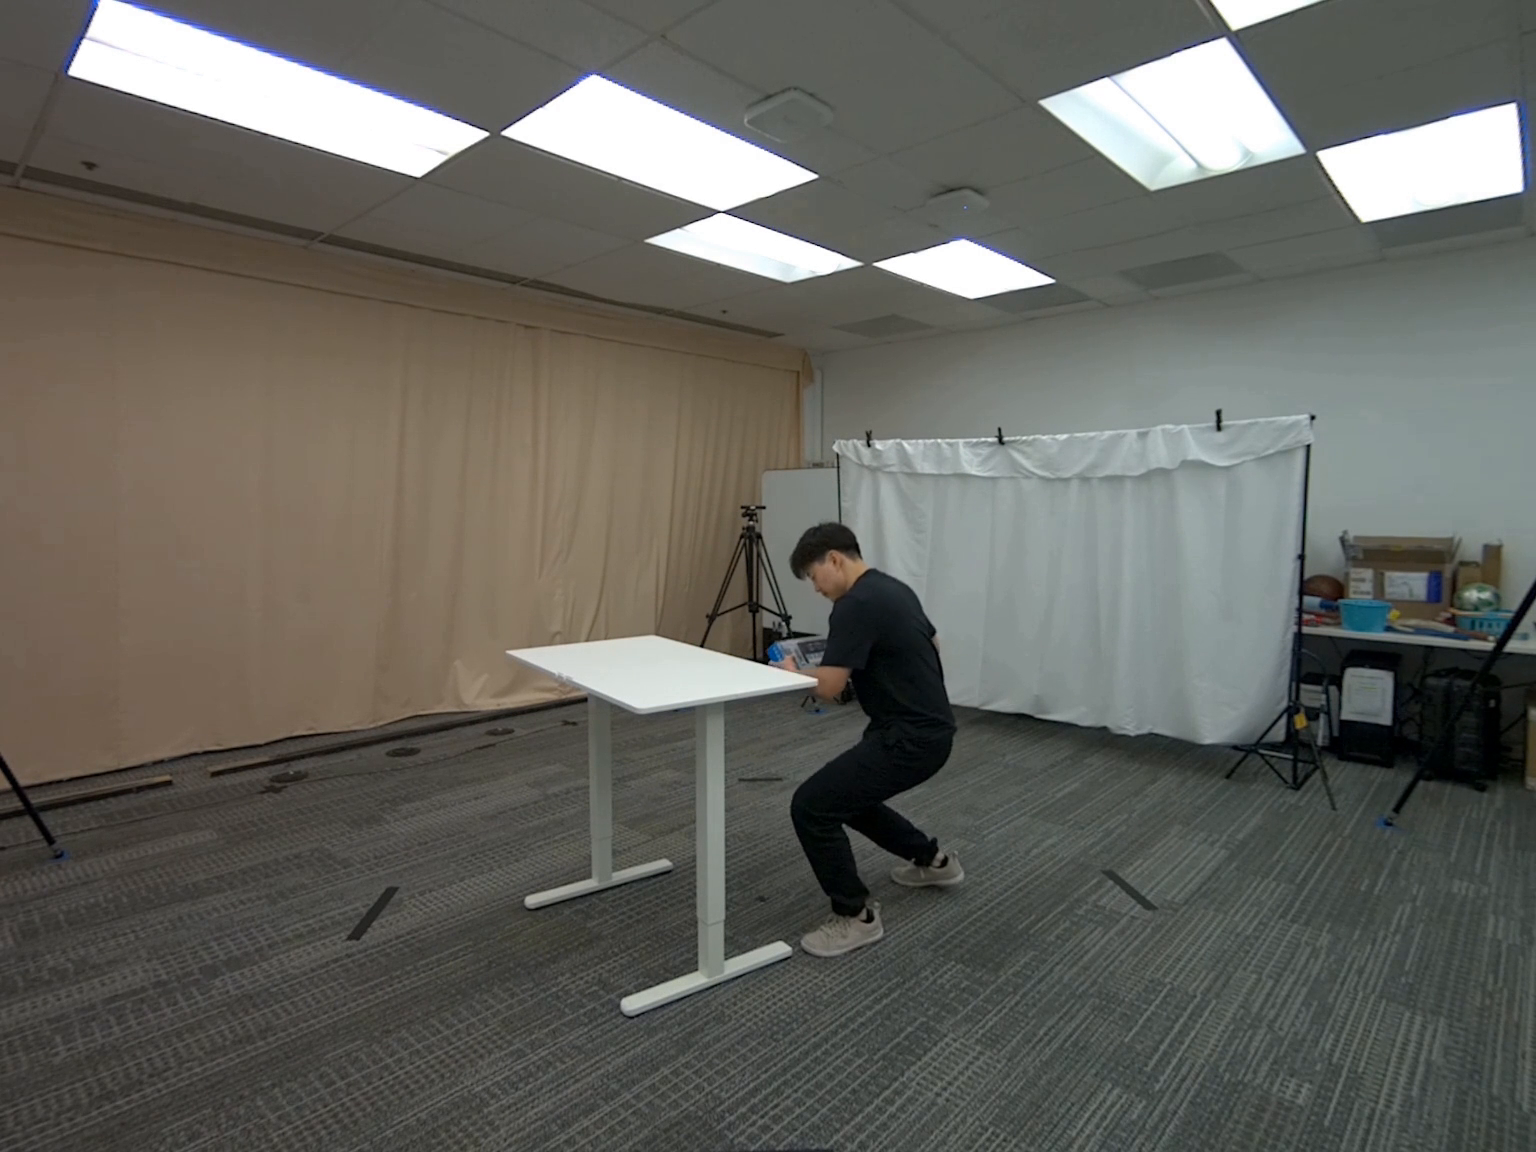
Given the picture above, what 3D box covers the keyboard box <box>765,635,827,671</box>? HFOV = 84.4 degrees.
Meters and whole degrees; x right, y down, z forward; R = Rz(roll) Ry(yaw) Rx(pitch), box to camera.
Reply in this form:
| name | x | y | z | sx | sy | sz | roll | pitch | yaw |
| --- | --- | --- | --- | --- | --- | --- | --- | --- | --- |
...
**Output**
| name | x | y | z | sx | sy | sz | roll | pitch | yaw |
| --- | --- | --- | --- | --- | --- | --- | --- | --- | --- |
| keyboard box | 0.205 | 0.314 | 3.115 | 0.423 | 0.181 | 0.059 | -3 | -41 | -46 |
